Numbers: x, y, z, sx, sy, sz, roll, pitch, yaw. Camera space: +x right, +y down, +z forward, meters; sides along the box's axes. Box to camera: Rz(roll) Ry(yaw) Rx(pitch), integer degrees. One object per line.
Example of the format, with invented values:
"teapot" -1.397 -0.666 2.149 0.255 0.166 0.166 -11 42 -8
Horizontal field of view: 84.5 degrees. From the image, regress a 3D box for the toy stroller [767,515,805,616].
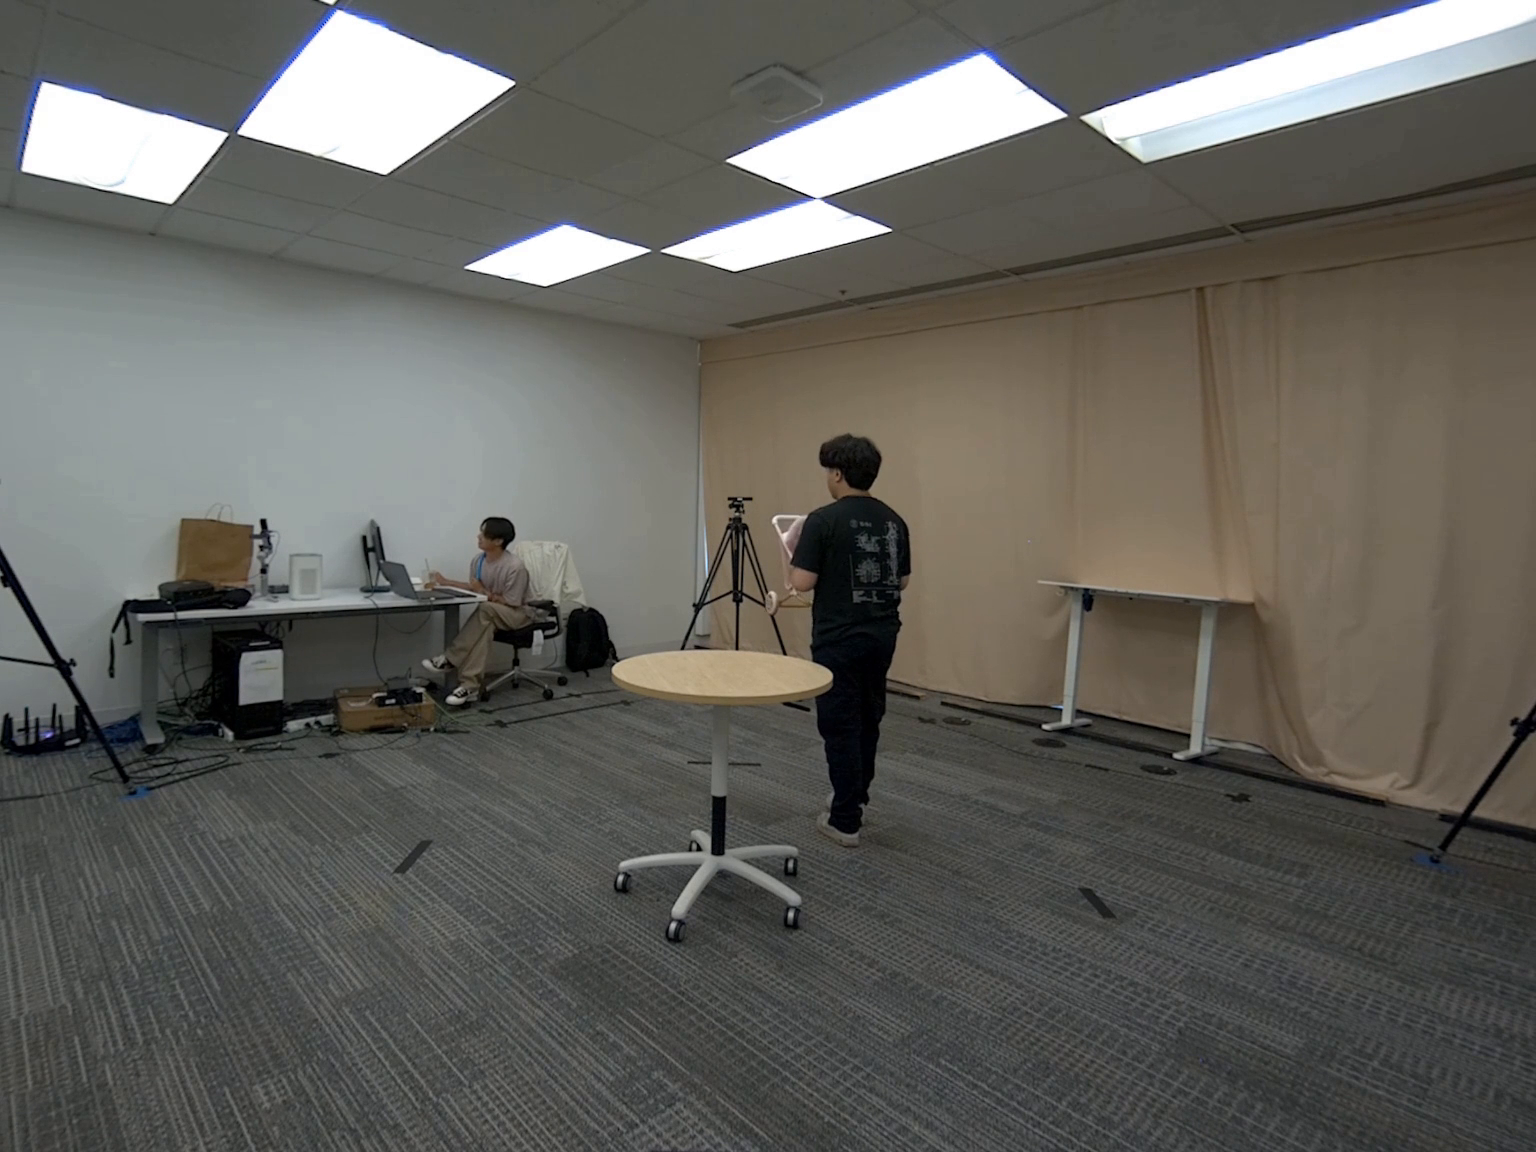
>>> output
"toy stroller" 0.175 -0.035 3.830 0.277 0.538 0.345 2 -7 -22
